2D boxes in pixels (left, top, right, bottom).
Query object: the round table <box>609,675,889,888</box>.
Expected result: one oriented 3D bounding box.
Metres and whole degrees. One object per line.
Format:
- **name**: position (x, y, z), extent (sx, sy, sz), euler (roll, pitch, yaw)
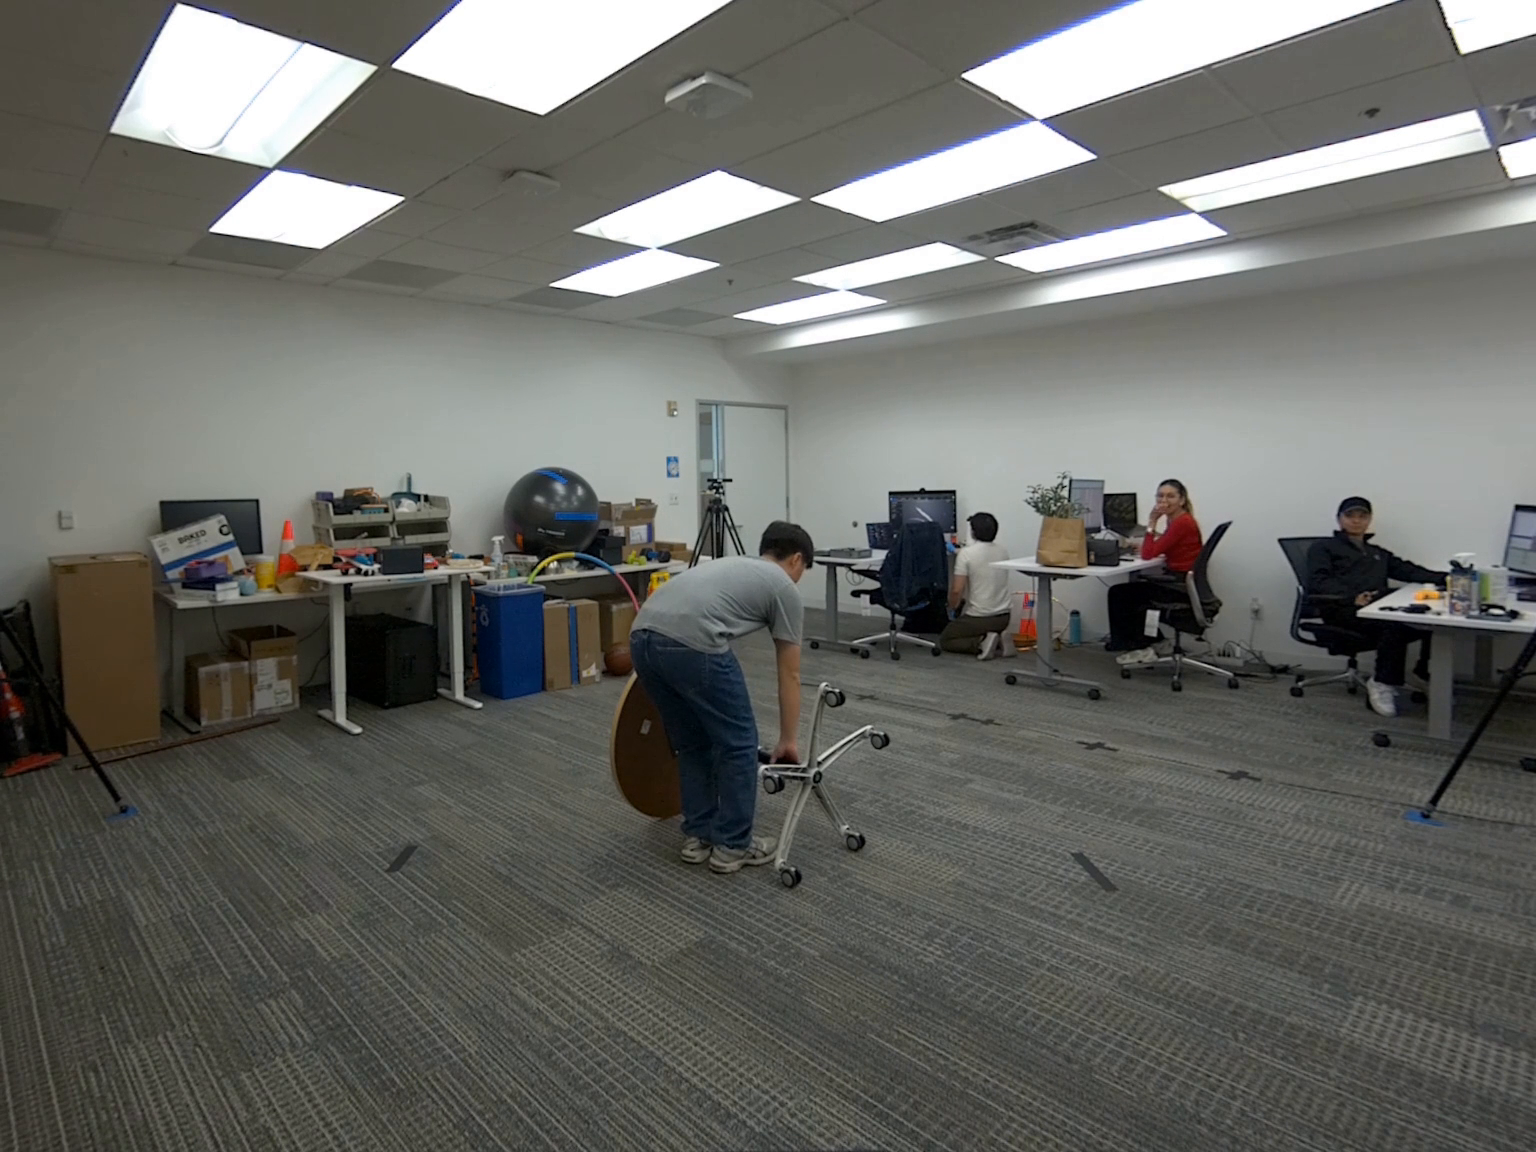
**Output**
- **round table**: position (-0.053, 0.683, 3.298), extent (0.821, 0.759, 0.744), euler (11, 11, 41)
